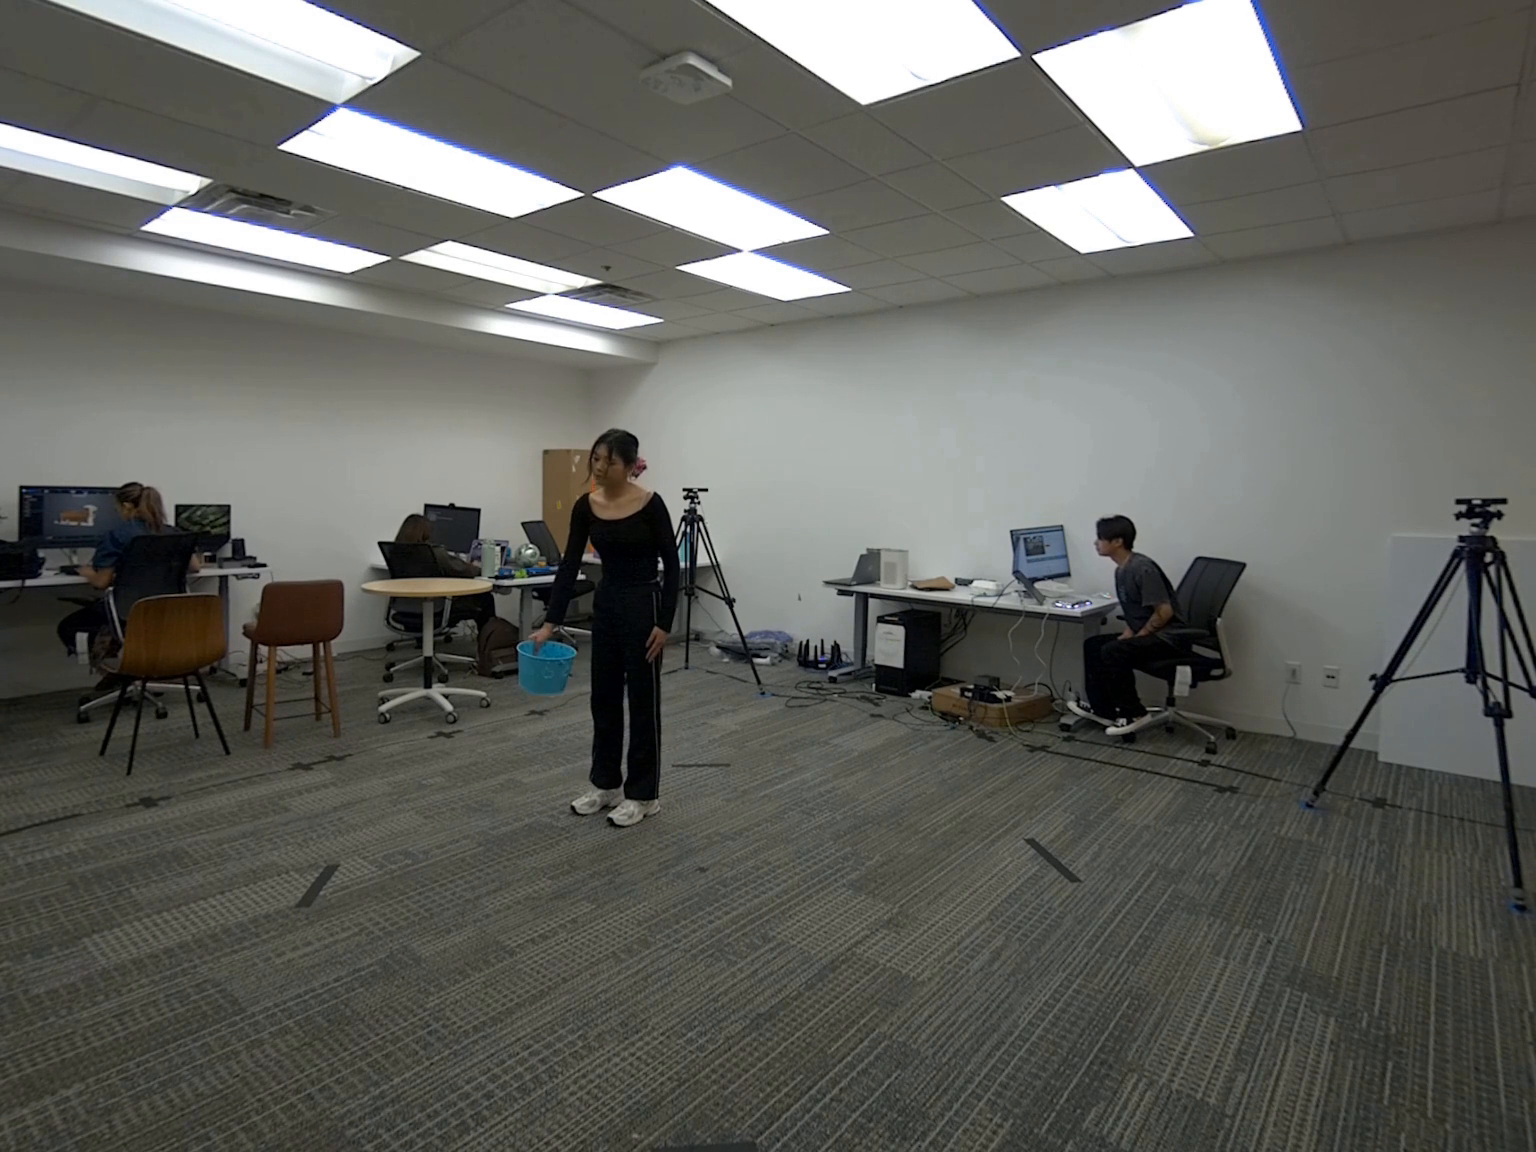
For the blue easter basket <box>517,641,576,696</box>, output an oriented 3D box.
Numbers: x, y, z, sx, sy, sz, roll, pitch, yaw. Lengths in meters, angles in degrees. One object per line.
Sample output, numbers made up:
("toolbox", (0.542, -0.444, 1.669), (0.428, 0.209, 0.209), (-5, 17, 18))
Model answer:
("blue easter basket", (-0.892, 0.375, 3.371), (0.243, 0.154, 0.246), (7, 10, -3))
